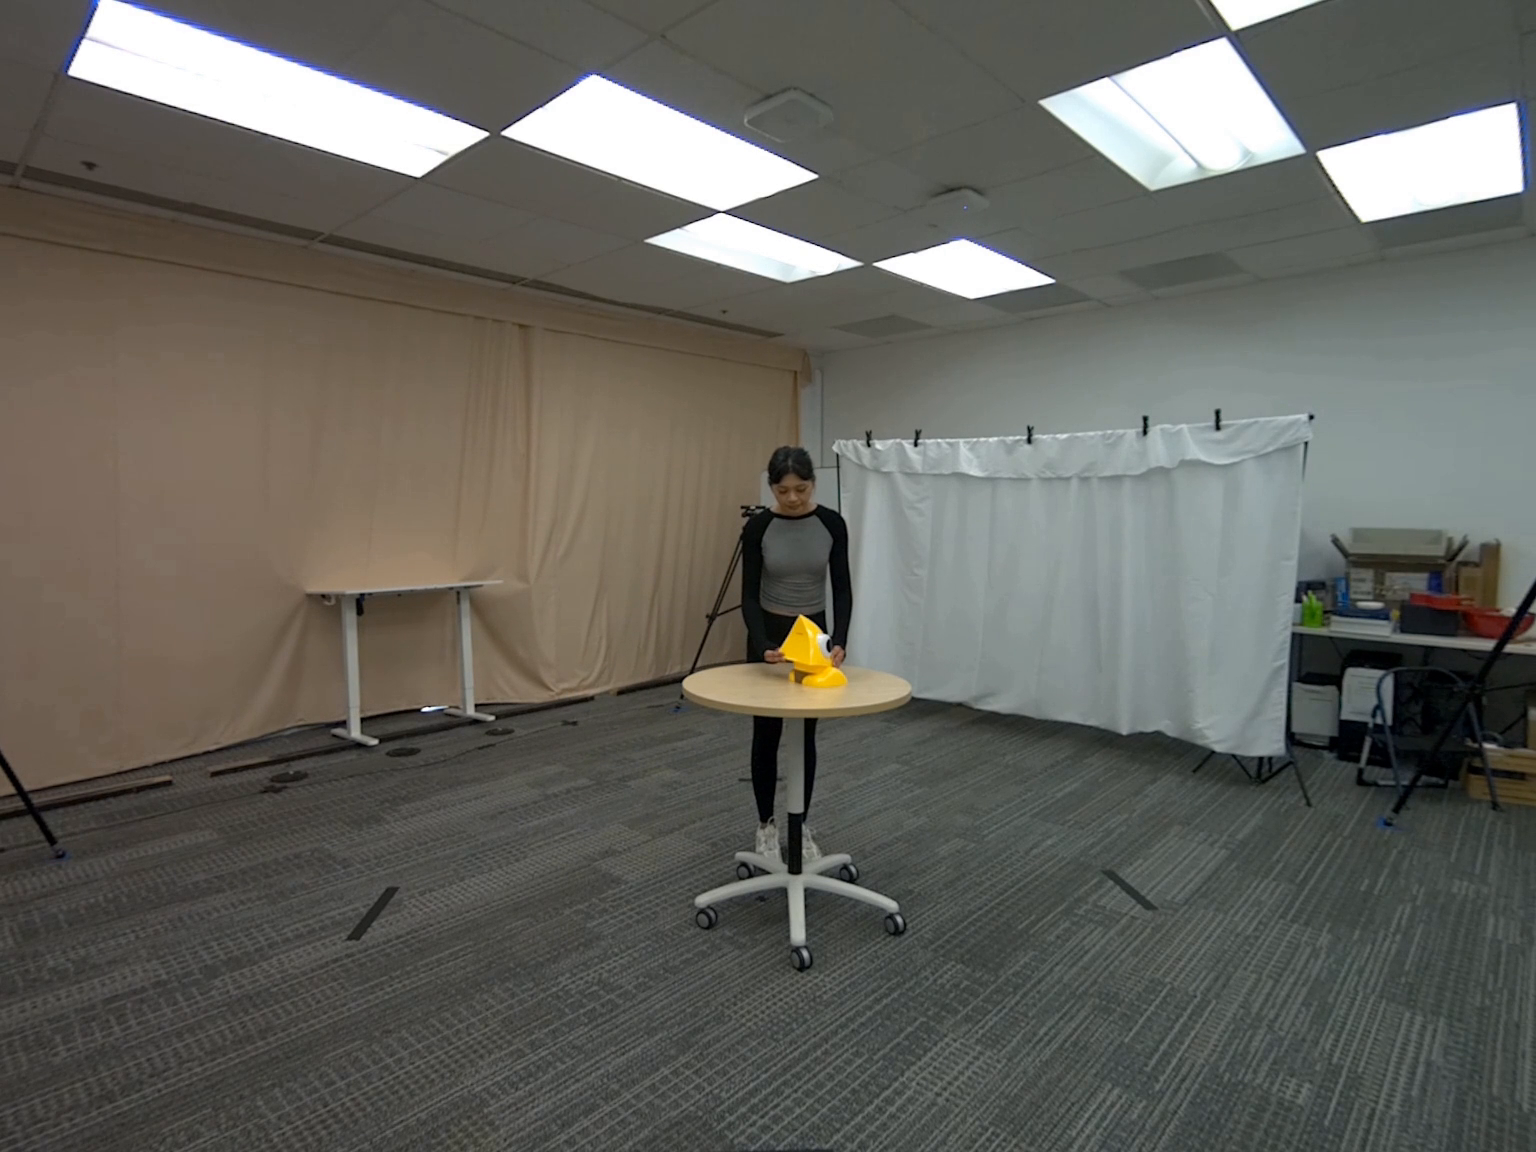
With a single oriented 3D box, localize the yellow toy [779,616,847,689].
[{"bbox_3d":[0.162,0.245,2.872,0.188,0.230,0.211,0,4,-31],"label":"yellow toy"}]
